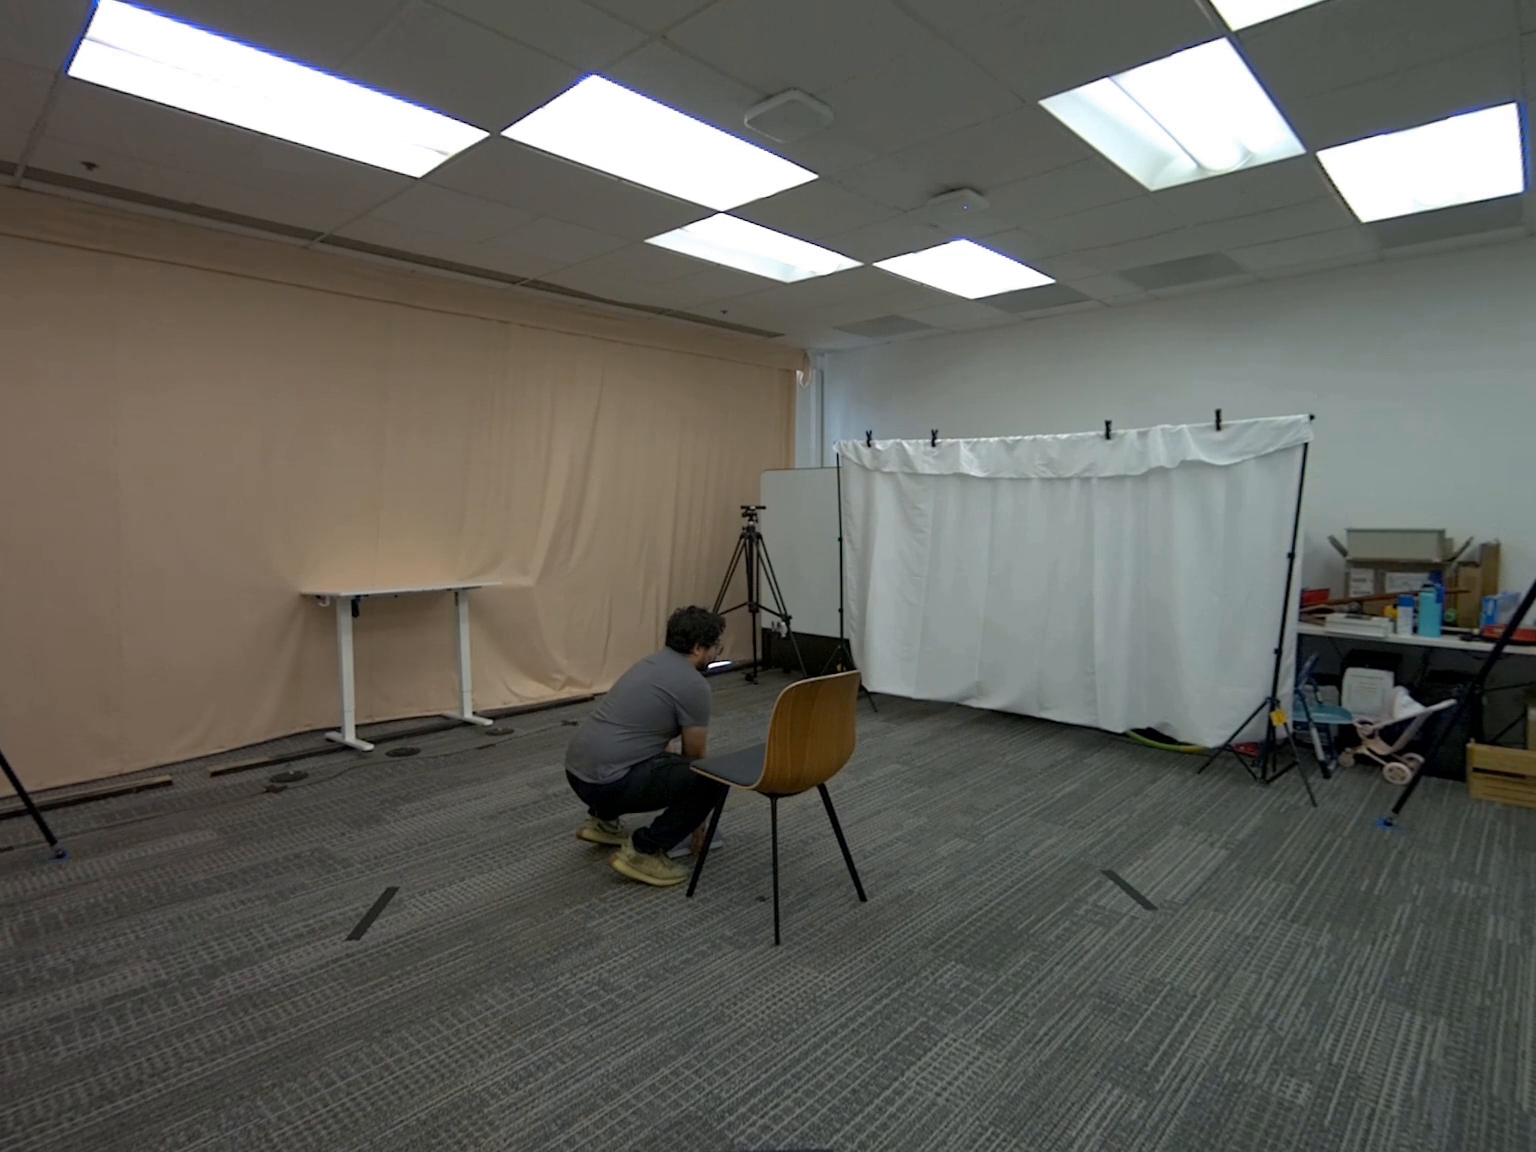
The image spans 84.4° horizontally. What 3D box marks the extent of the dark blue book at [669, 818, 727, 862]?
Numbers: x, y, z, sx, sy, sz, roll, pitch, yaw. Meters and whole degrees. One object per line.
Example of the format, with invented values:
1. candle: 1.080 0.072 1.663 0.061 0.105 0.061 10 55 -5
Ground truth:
1. dark blue book: -0.317 1.065 3.422 0.239 0.045 0.169 2 26 -26
